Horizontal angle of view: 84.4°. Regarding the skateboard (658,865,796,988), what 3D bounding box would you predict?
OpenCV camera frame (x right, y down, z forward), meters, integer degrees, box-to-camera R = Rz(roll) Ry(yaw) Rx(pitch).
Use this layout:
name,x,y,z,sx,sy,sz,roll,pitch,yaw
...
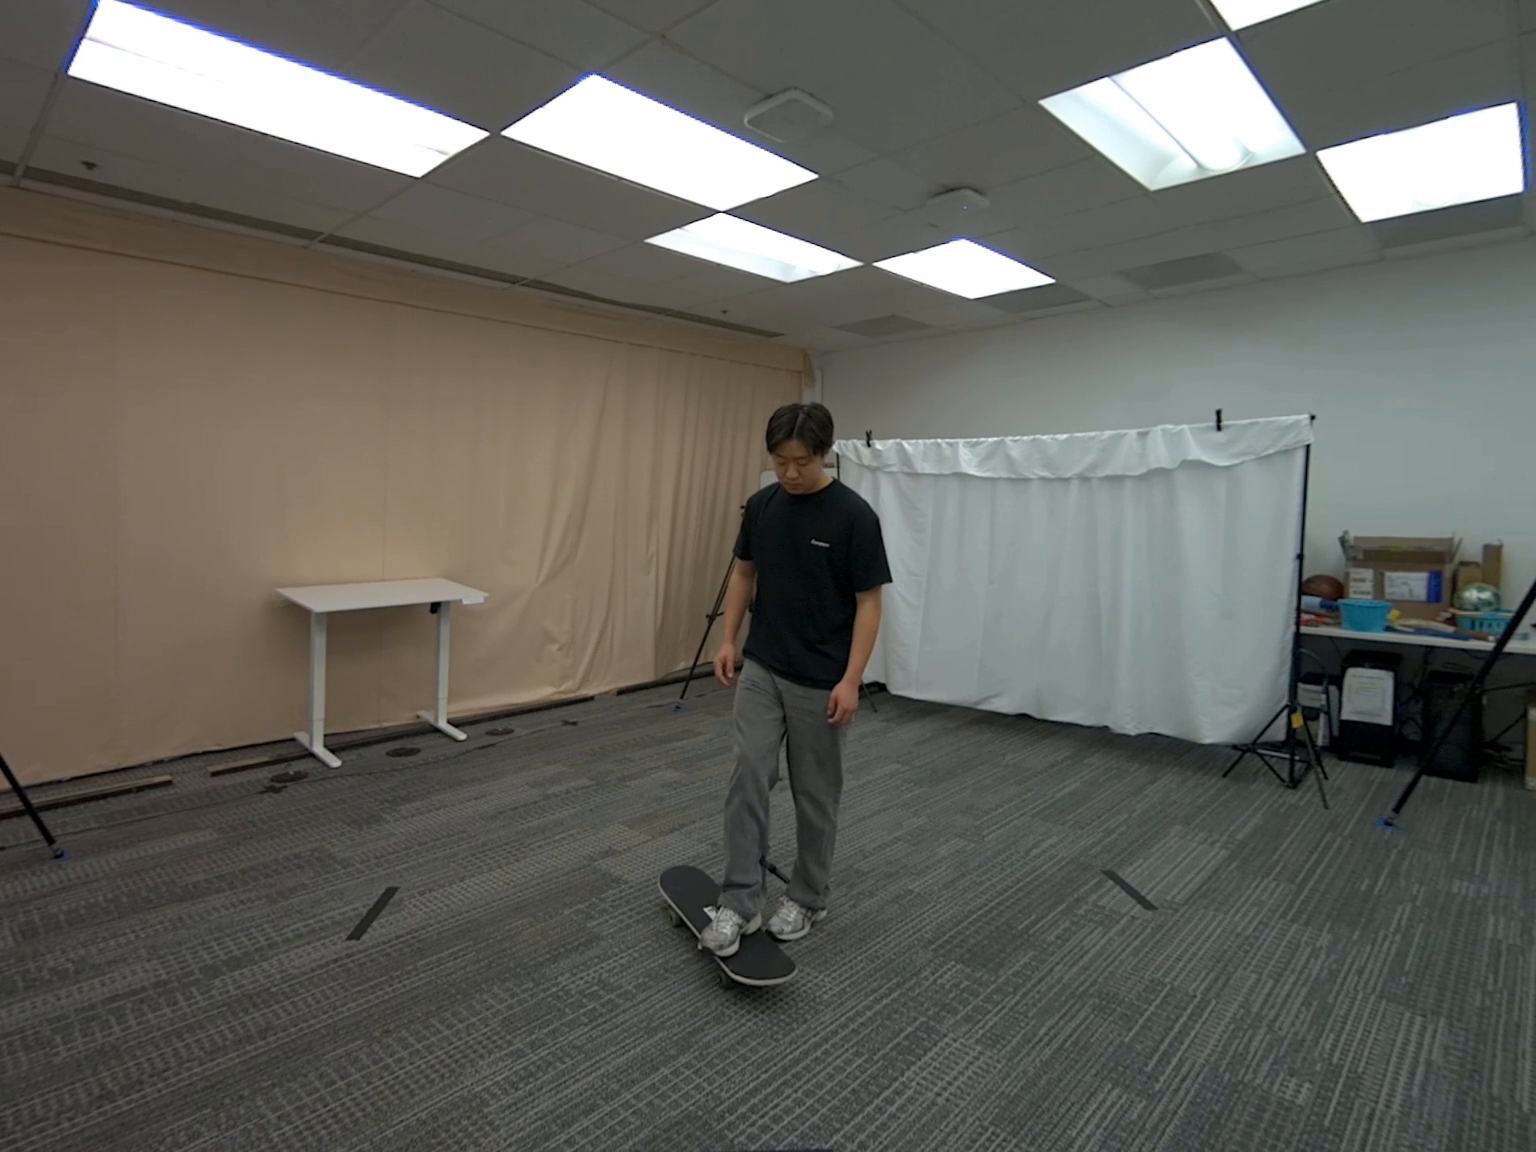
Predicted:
name,x,y,z,sx,sy,sz,roll,pitch,yaw
skateboard,-0.156,1.119,2.650,0.189,0.110,0.806,-2,5,-25
